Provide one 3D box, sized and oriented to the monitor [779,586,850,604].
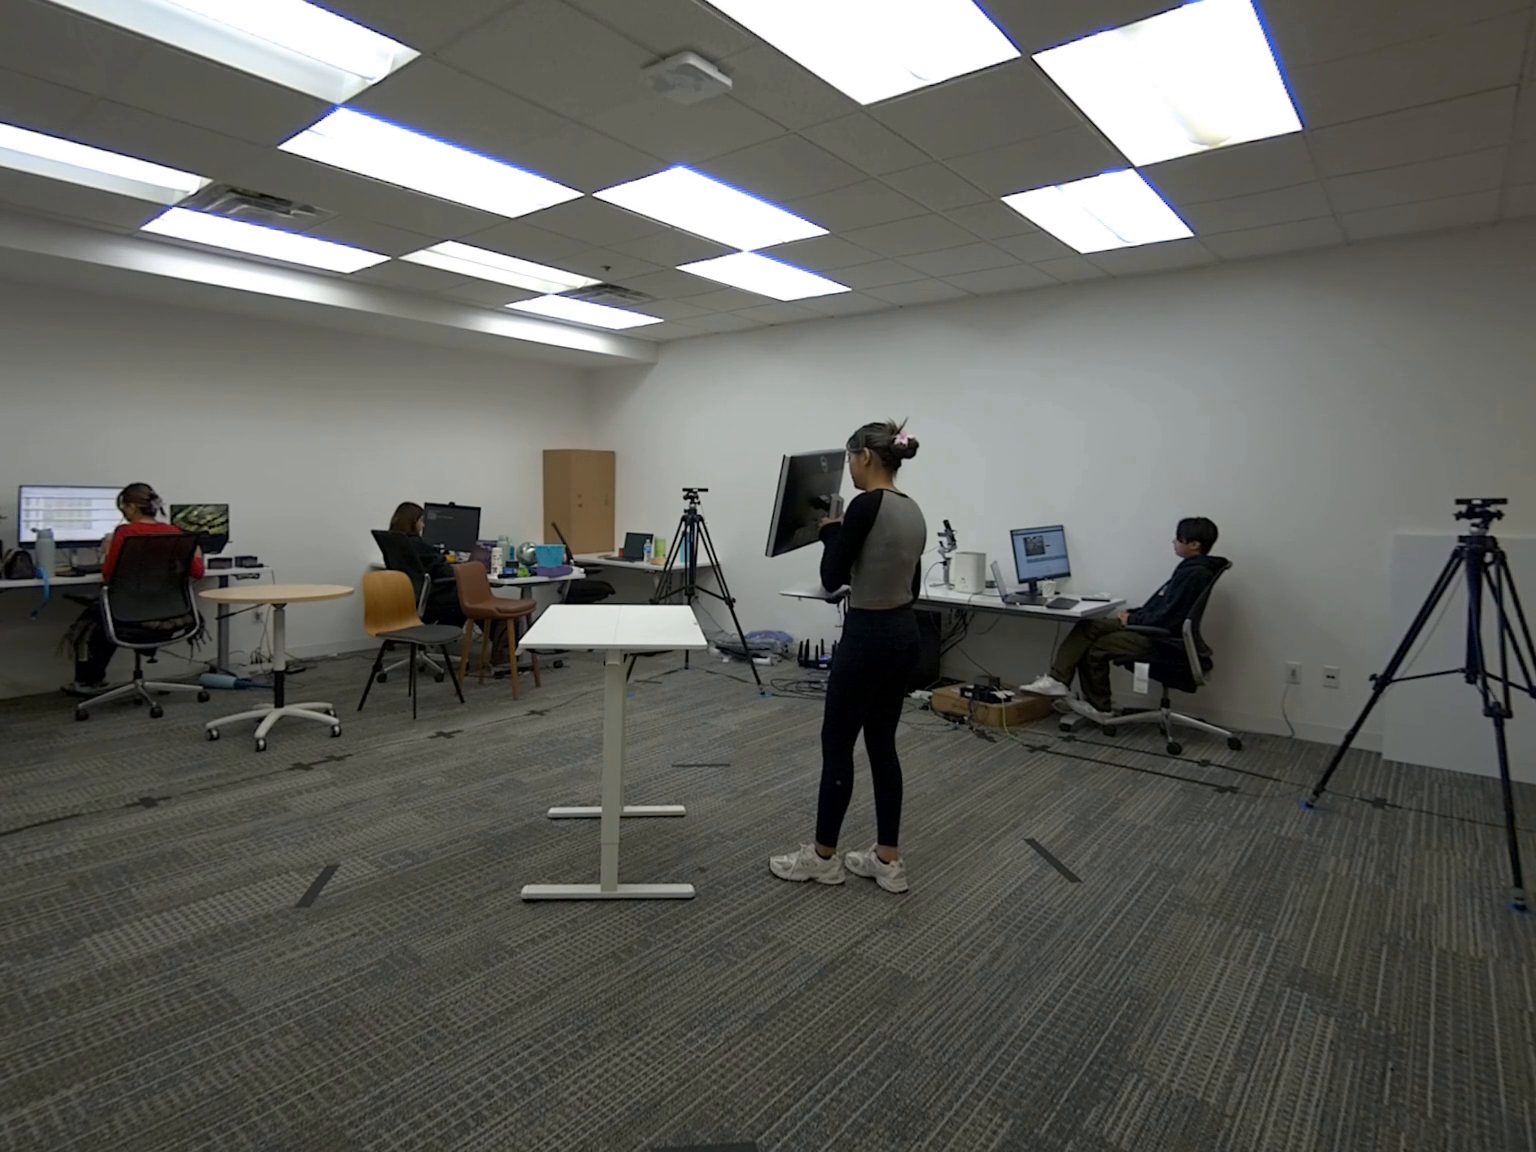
[{"bbox_3d":[0.172,-0.198,3.153,0.192,0.518,0.530,3,9,23],"label":"monitor"}]
